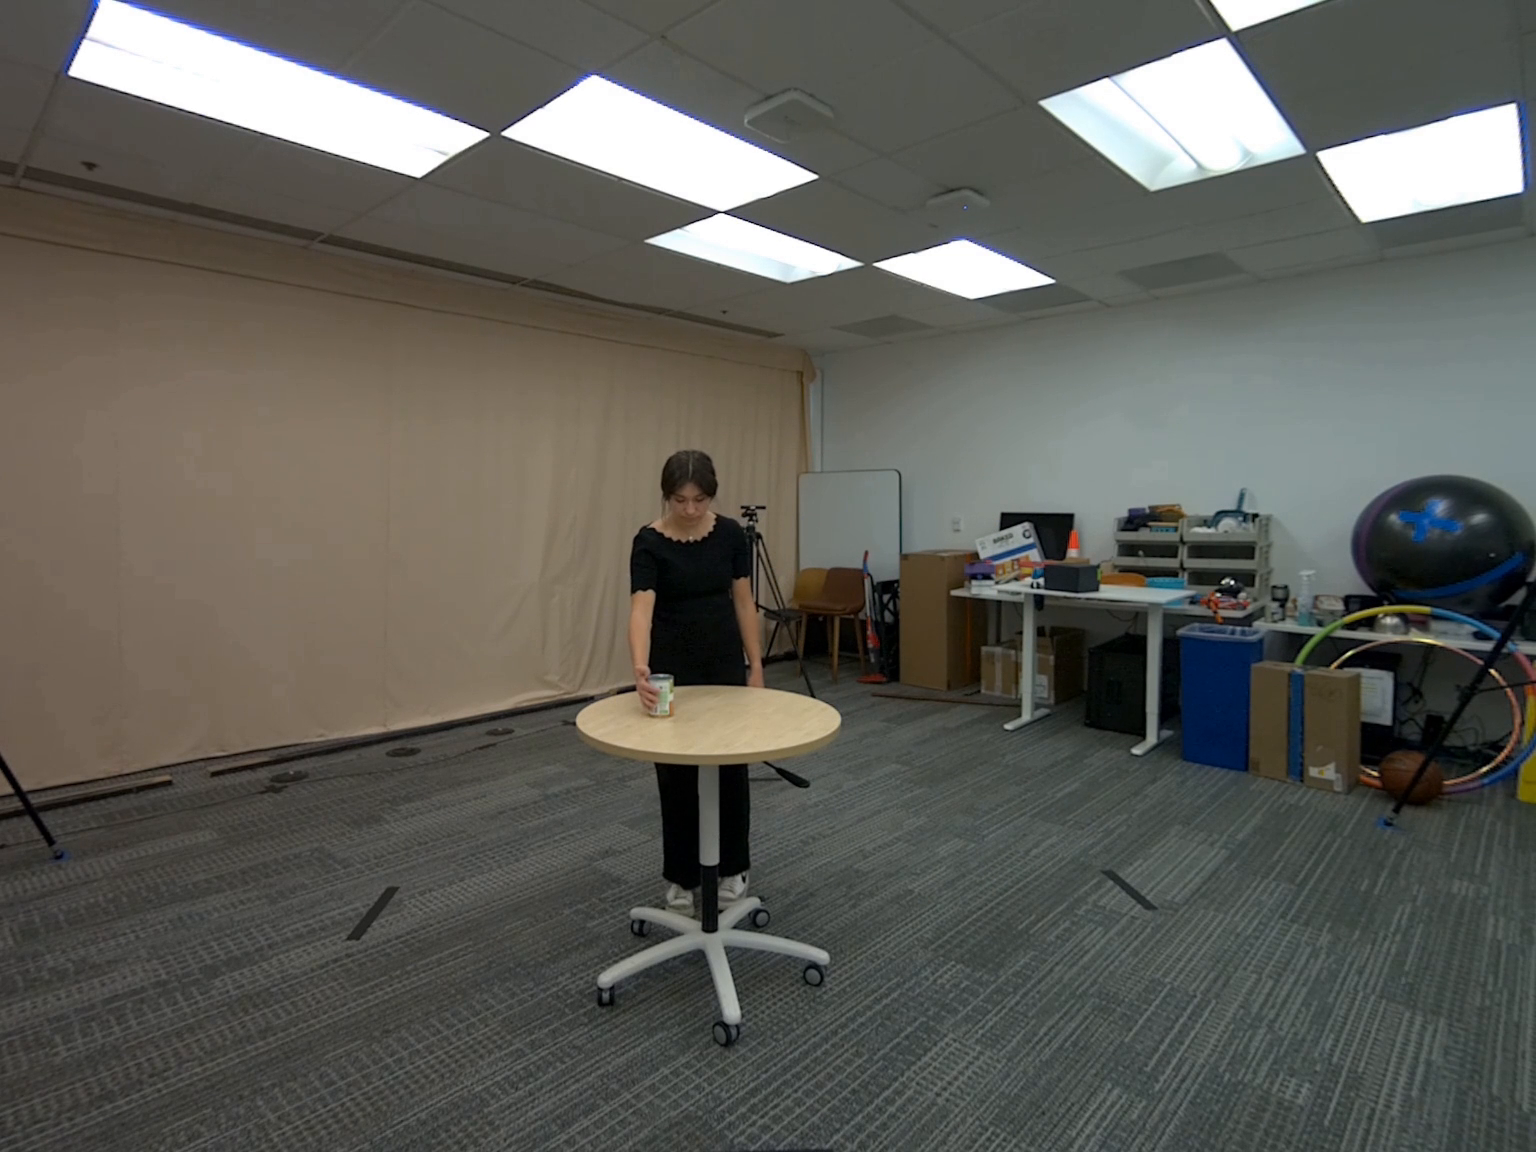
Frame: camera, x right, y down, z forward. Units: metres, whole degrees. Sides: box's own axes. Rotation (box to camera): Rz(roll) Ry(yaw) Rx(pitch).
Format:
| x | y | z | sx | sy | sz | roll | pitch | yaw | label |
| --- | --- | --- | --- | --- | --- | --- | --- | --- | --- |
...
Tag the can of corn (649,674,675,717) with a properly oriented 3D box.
| x | y | z | sx | sy | sz | roll | pitch | yaw | label |
| --- | --- | --- | --- | --- | --- | --- | --- | --- | --- |
| -0.309 | 0.354 | 2.451 | 0.074 | 0.111 | 0.074 | -2 | 3 | -2 | can of corn |
